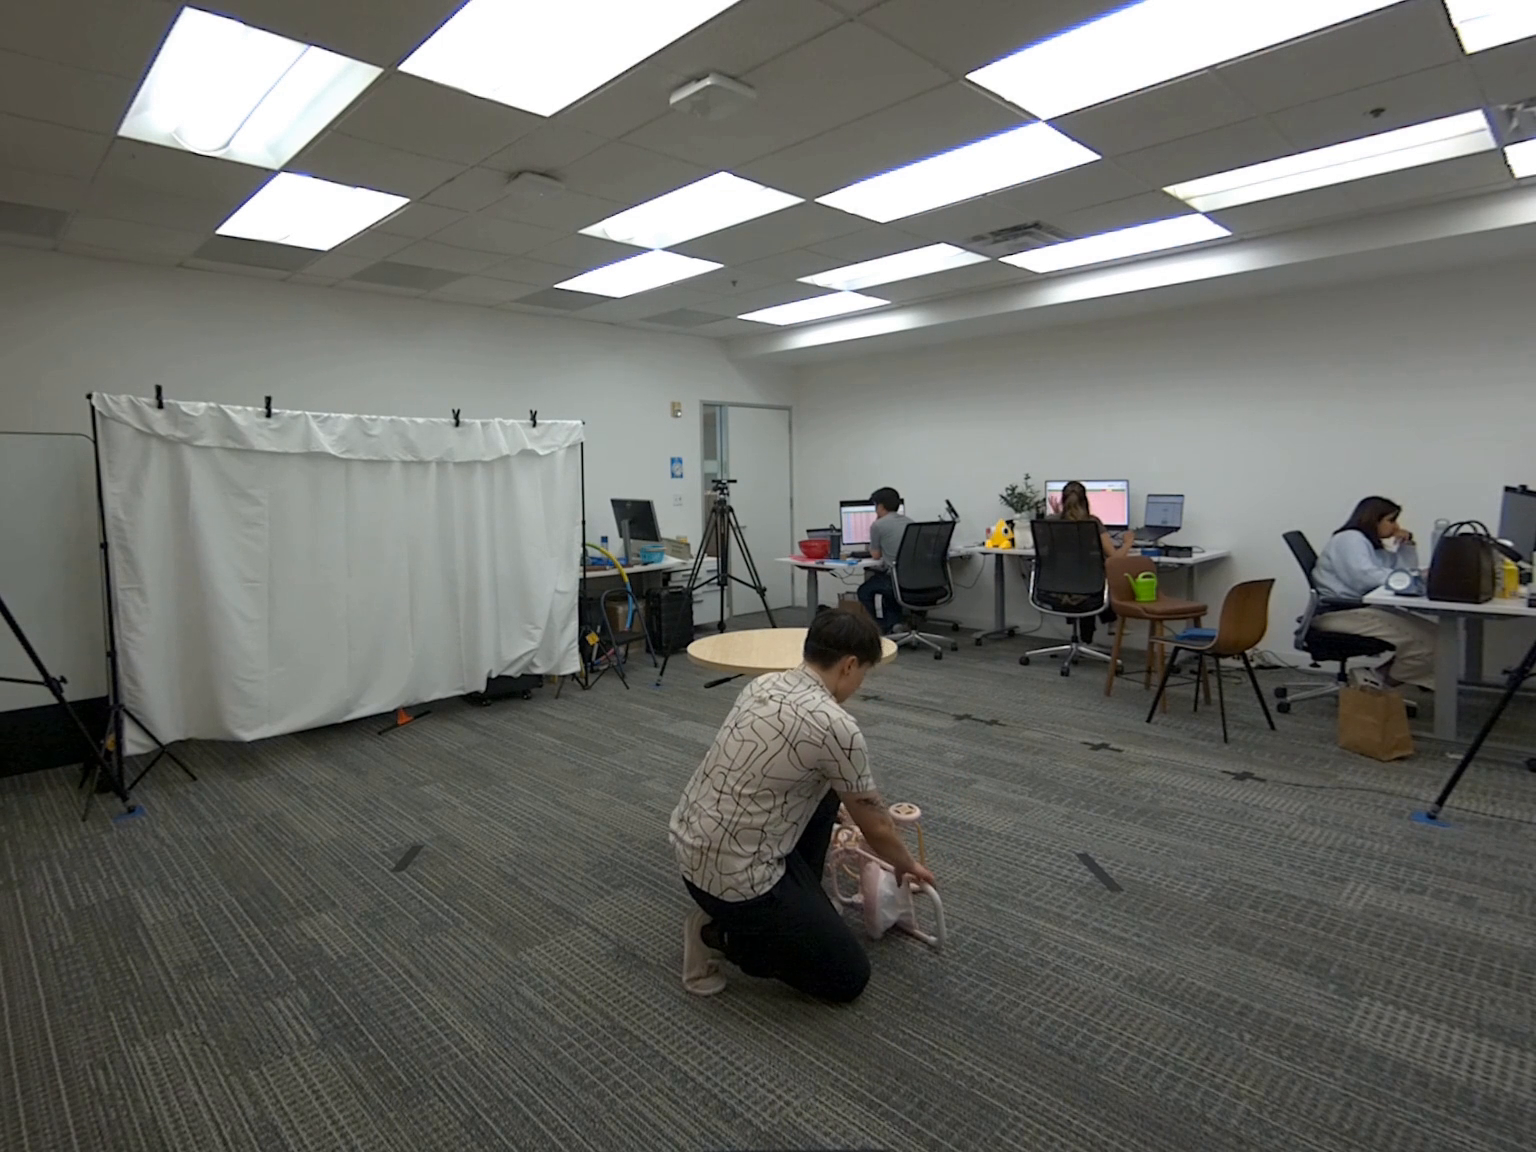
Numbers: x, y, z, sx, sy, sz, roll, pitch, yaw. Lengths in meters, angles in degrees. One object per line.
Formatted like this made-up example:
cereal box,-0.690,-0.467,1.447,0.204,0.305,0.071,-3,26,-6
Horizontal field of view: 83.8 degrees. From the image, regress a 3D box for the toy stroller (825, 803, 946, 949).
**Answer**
toy stroller,0.354,0.954,2.756,0.344,0.278,0.537,-3,12,6
